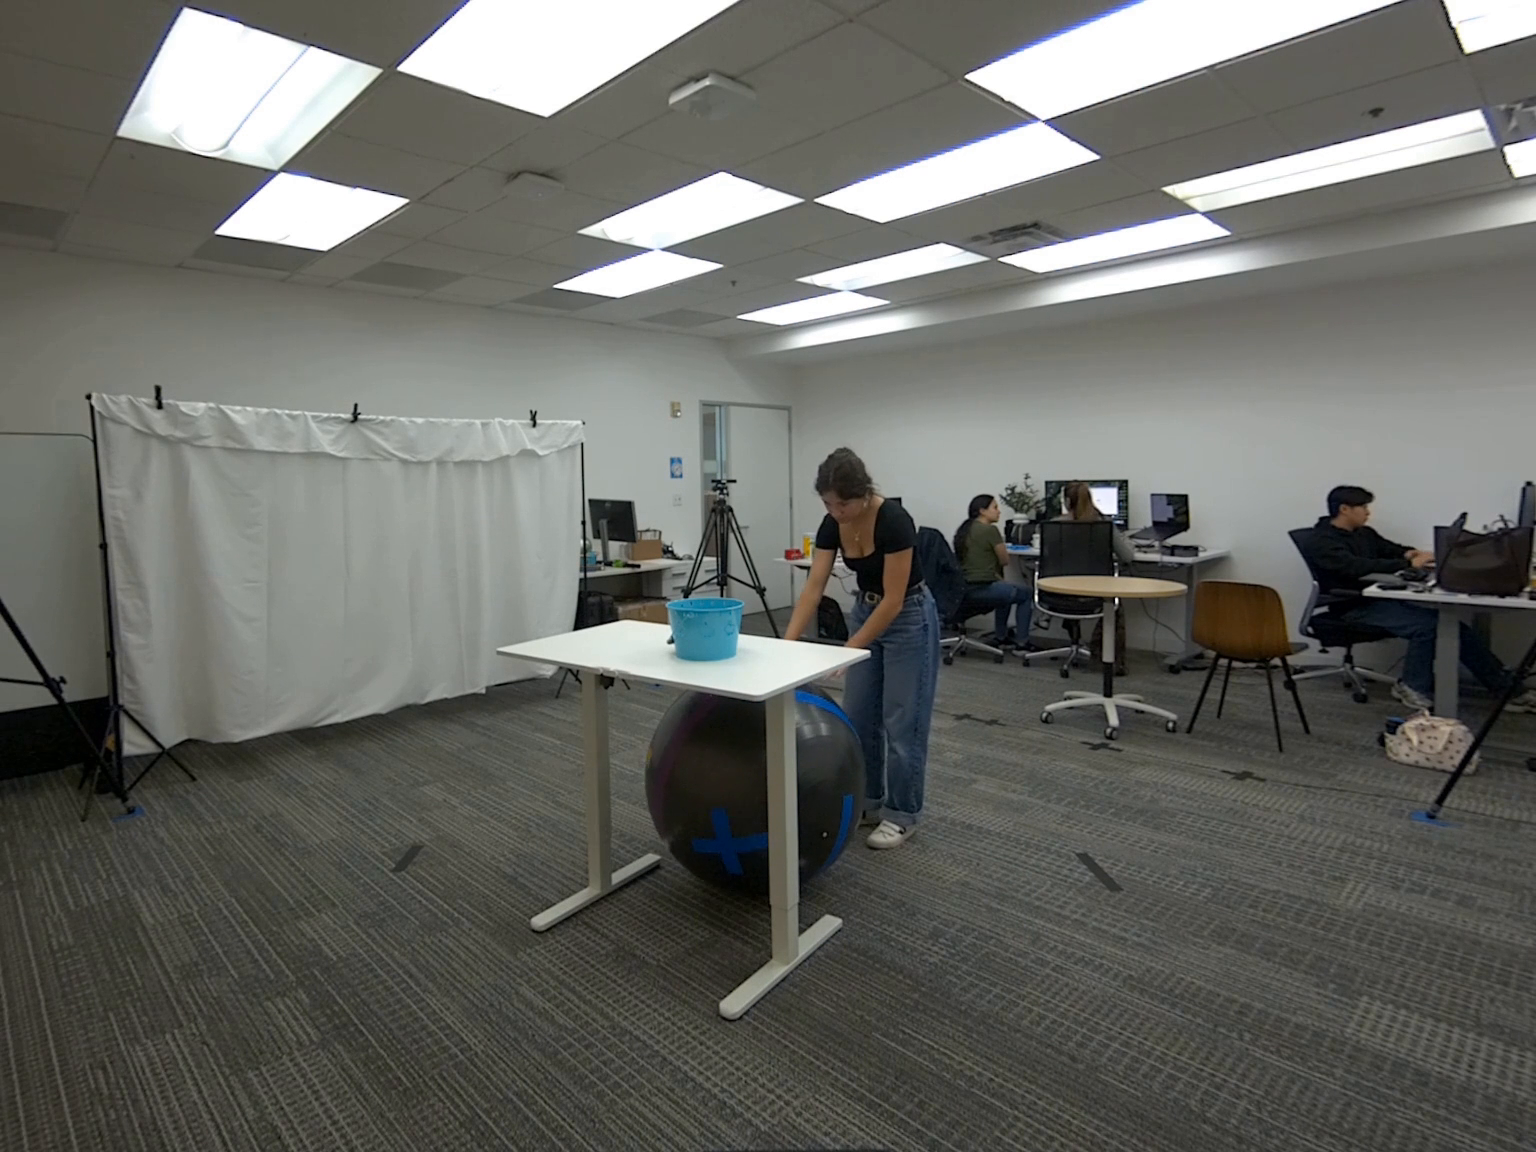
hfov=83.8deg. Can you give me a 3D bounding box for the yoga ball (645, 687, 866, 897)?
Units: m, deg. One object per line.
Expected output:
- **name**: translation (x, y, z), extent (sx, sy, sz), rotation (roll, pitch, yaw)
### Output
- **yoga ball**: translation (-0.045, 0.696, 2.951), extent (0.757, 0.755, 0.762), rotation (-1, 5, -2)
